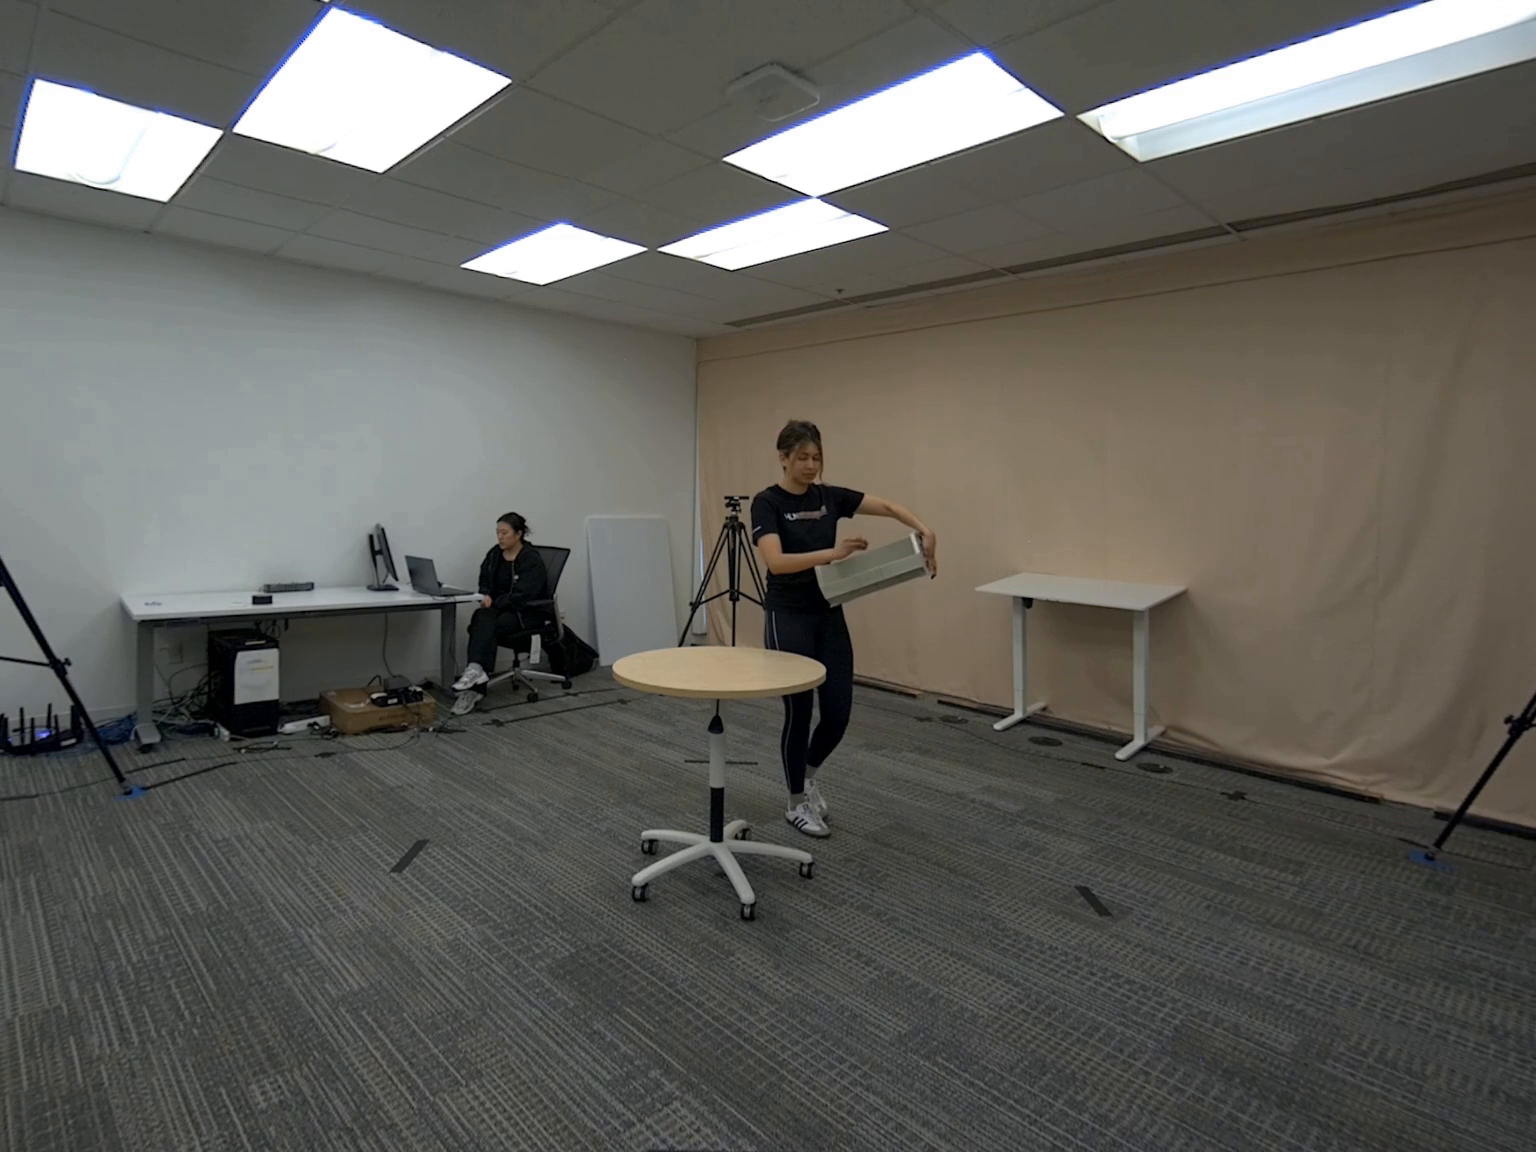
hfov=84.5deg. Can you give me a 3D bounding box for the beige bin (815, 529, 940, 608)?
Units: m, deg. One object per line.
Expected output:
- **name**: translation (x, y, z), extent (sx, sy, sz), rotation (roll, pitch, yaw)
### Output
- **beige bin**: translation (0.444, -0.023, 3.455), extent (0.426, 0.190, 0.372), rotation (-21, -5, 17)
